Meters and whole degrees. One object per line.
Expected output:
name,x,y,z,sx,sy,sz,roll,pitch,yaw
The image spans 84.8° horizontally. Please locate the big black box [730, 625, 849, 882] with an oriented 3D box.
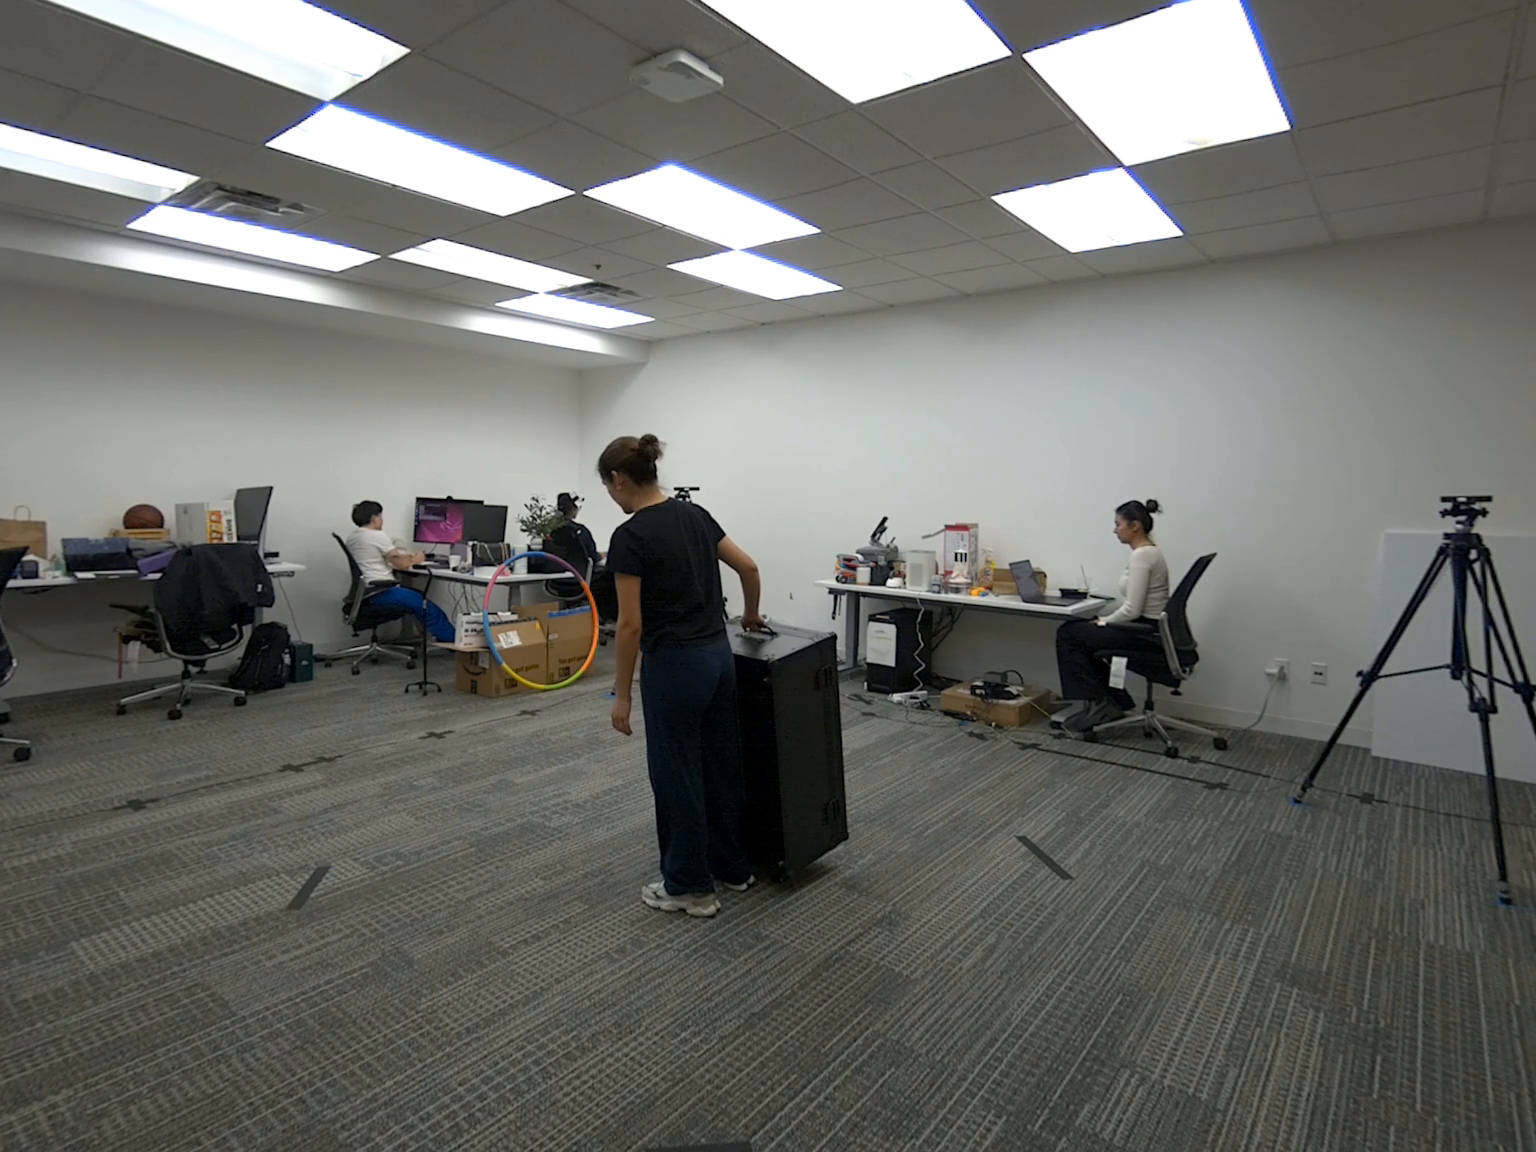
big black box,-0.008,0.630,3.119,0.539,0.852,0.387,6,15,44
